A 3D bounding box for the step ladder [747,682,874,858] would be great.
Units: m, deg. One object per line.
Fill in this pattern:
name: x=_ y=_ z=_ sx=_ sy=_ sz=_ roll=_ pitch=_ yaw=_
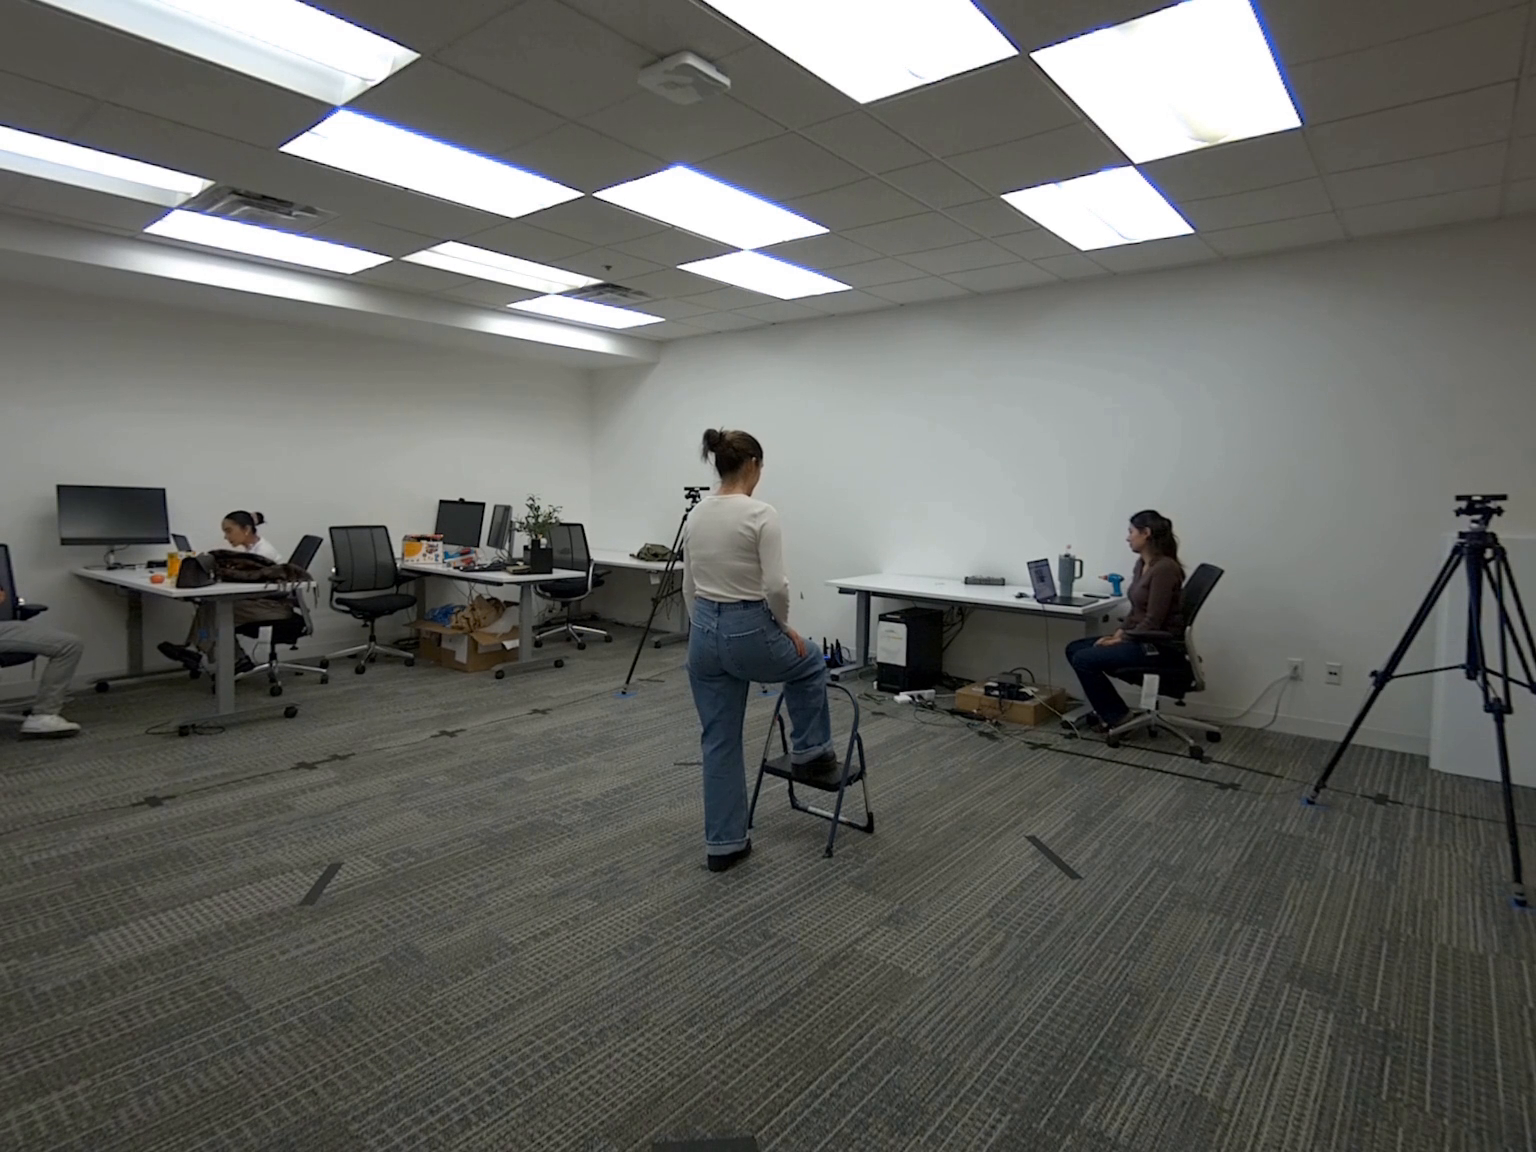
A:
step ladder: x=0.169 y=0.735 z=3.465 sx=0.445 sy=0.604 sz=0.339 roll=4 pitch=4 yaw=39
